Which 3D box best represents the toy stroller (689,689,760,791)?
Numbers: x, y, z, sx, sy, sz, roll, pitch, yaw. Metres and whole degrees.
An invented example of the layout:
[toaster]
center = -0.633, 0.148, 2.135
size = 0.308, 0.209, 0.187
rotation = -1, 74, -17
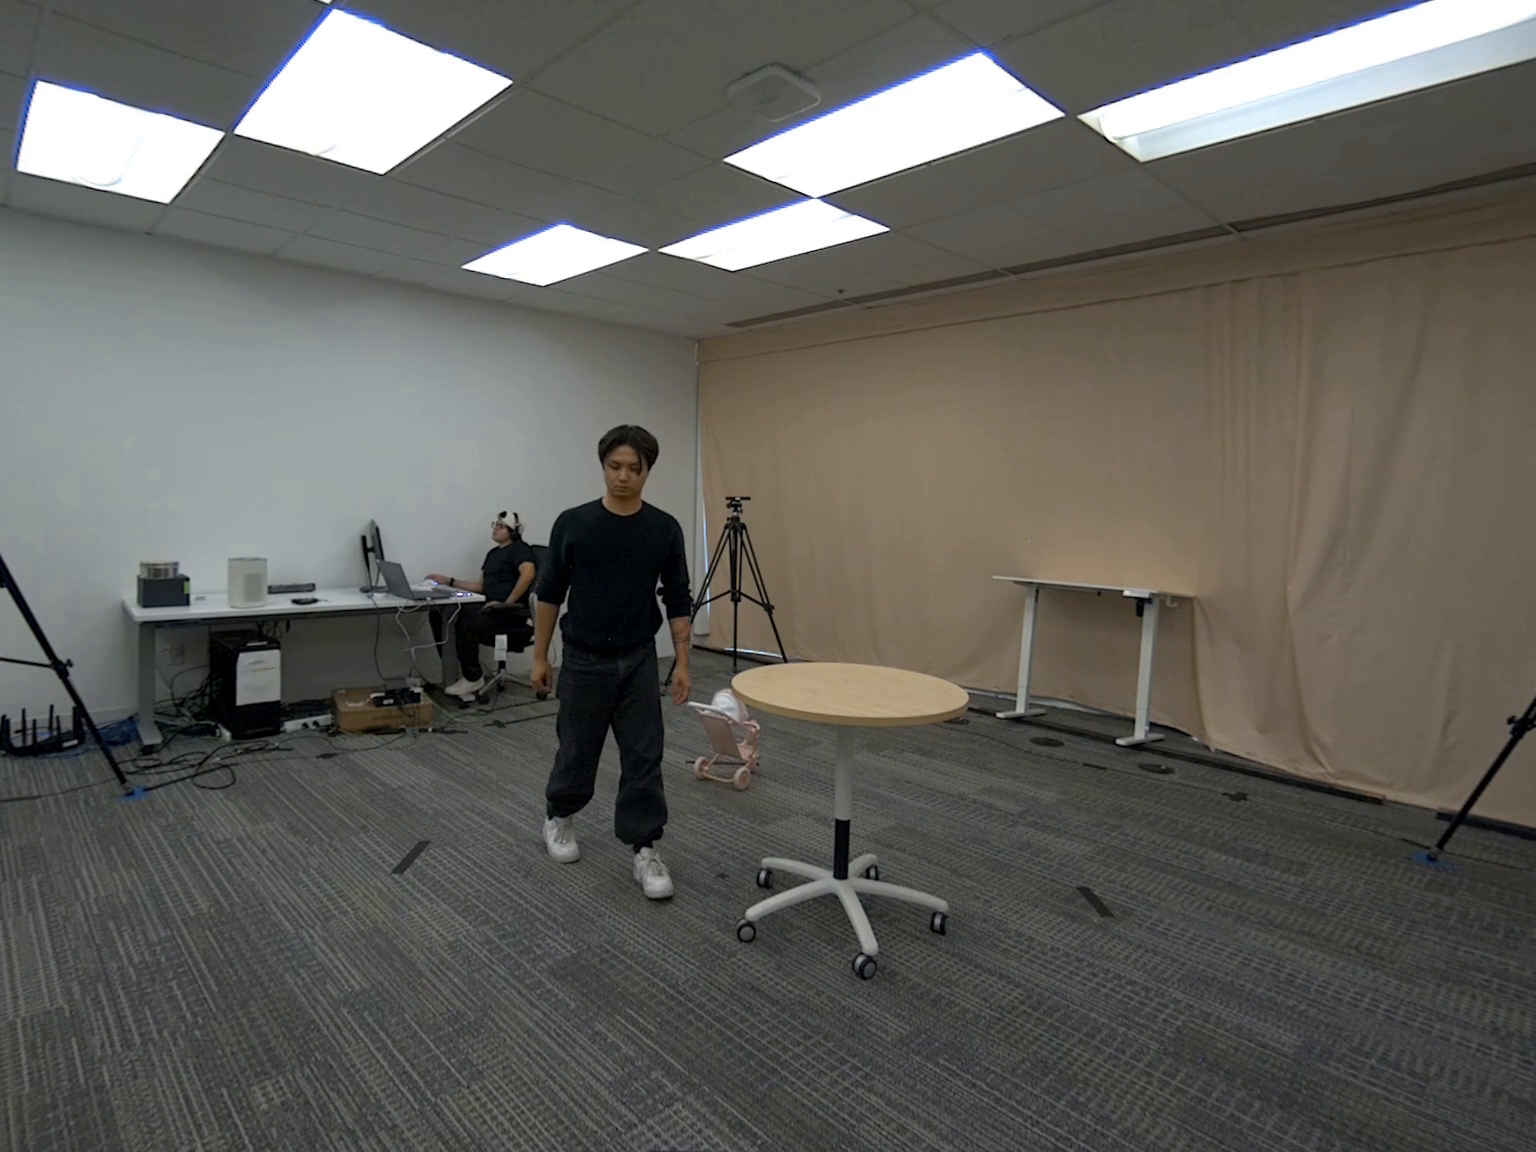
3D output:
[toy stroller]
center = -0.198, 0.791, 4.160
size = 0.288, 0.528, 0.337
rotation = 5, 21, 39
